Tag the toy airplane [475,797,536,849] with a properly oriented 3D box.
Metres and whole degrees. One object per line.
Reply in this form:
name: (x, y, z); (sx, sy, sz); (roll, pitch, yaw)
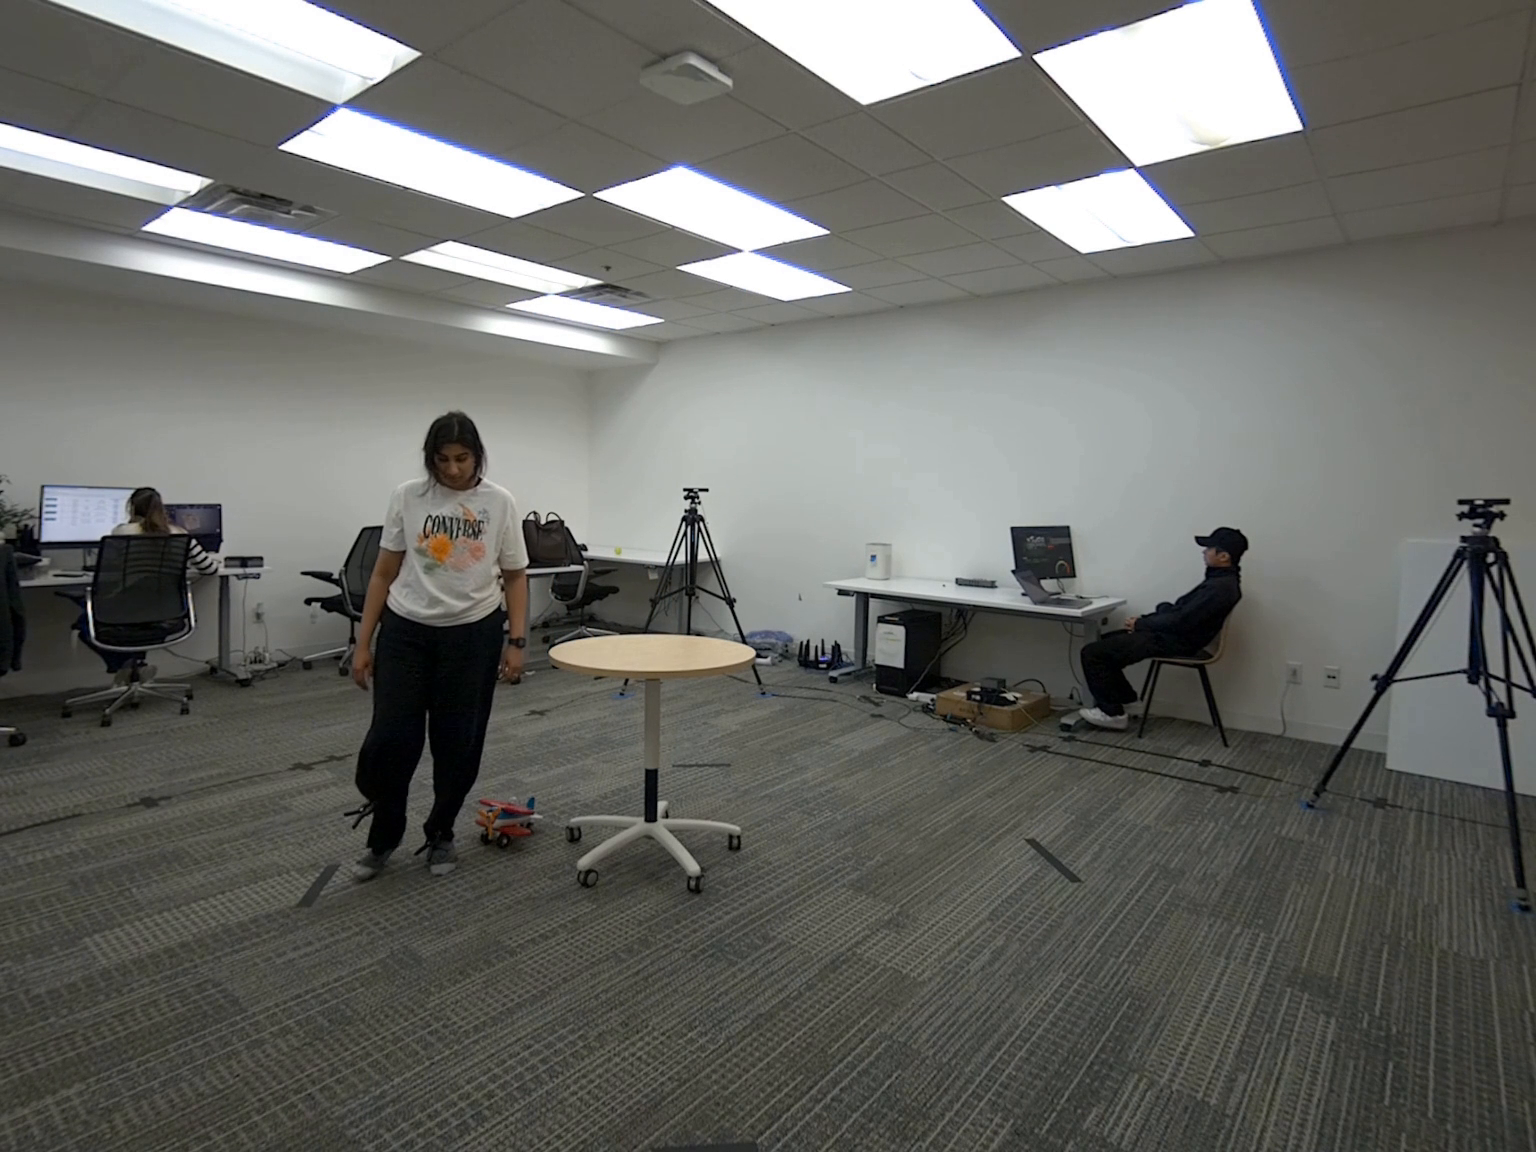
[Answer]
toy airplane: (-1.045, 0.957, 3.362); (0.251, 0.156, 0.260); (1, 5, 1)
